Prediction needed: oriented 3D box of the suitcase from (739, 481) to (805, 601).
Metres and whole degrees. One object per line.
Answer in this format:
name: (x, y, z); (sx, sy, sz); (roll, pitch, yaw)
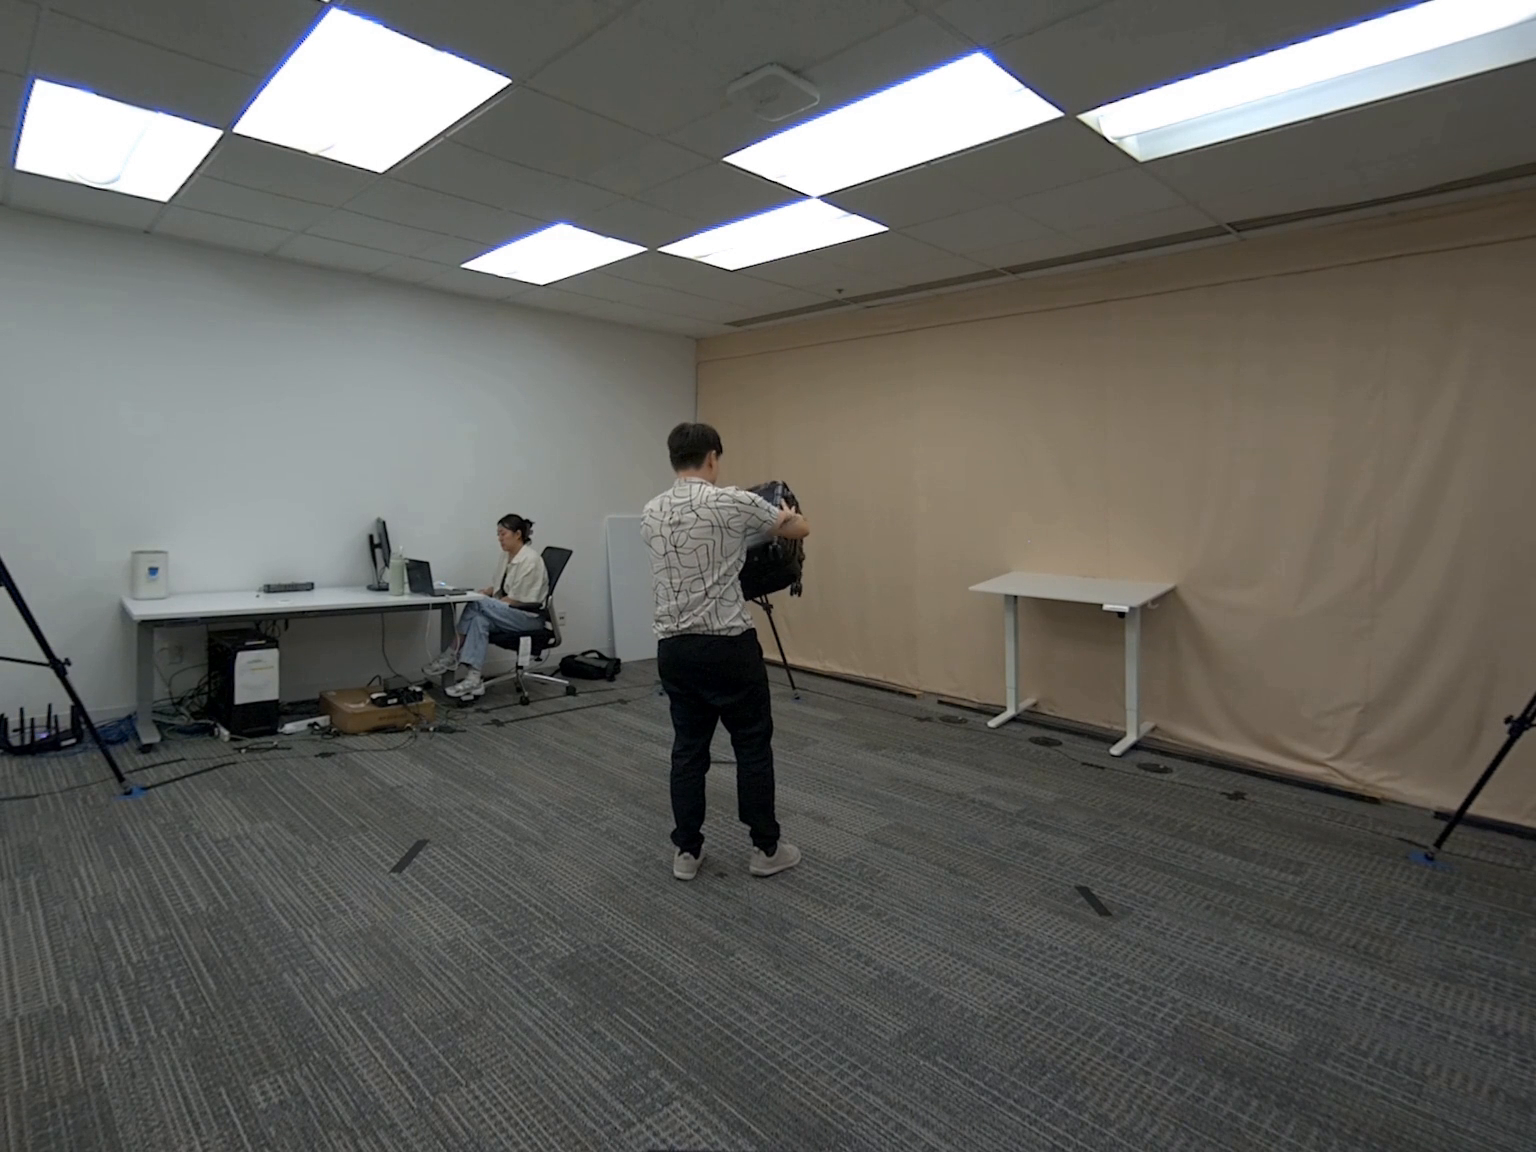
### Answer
suitcase: (-0.051, -0.145, 3.527); (0.378, 0.241, 0.560); (-20, 34, 17)
